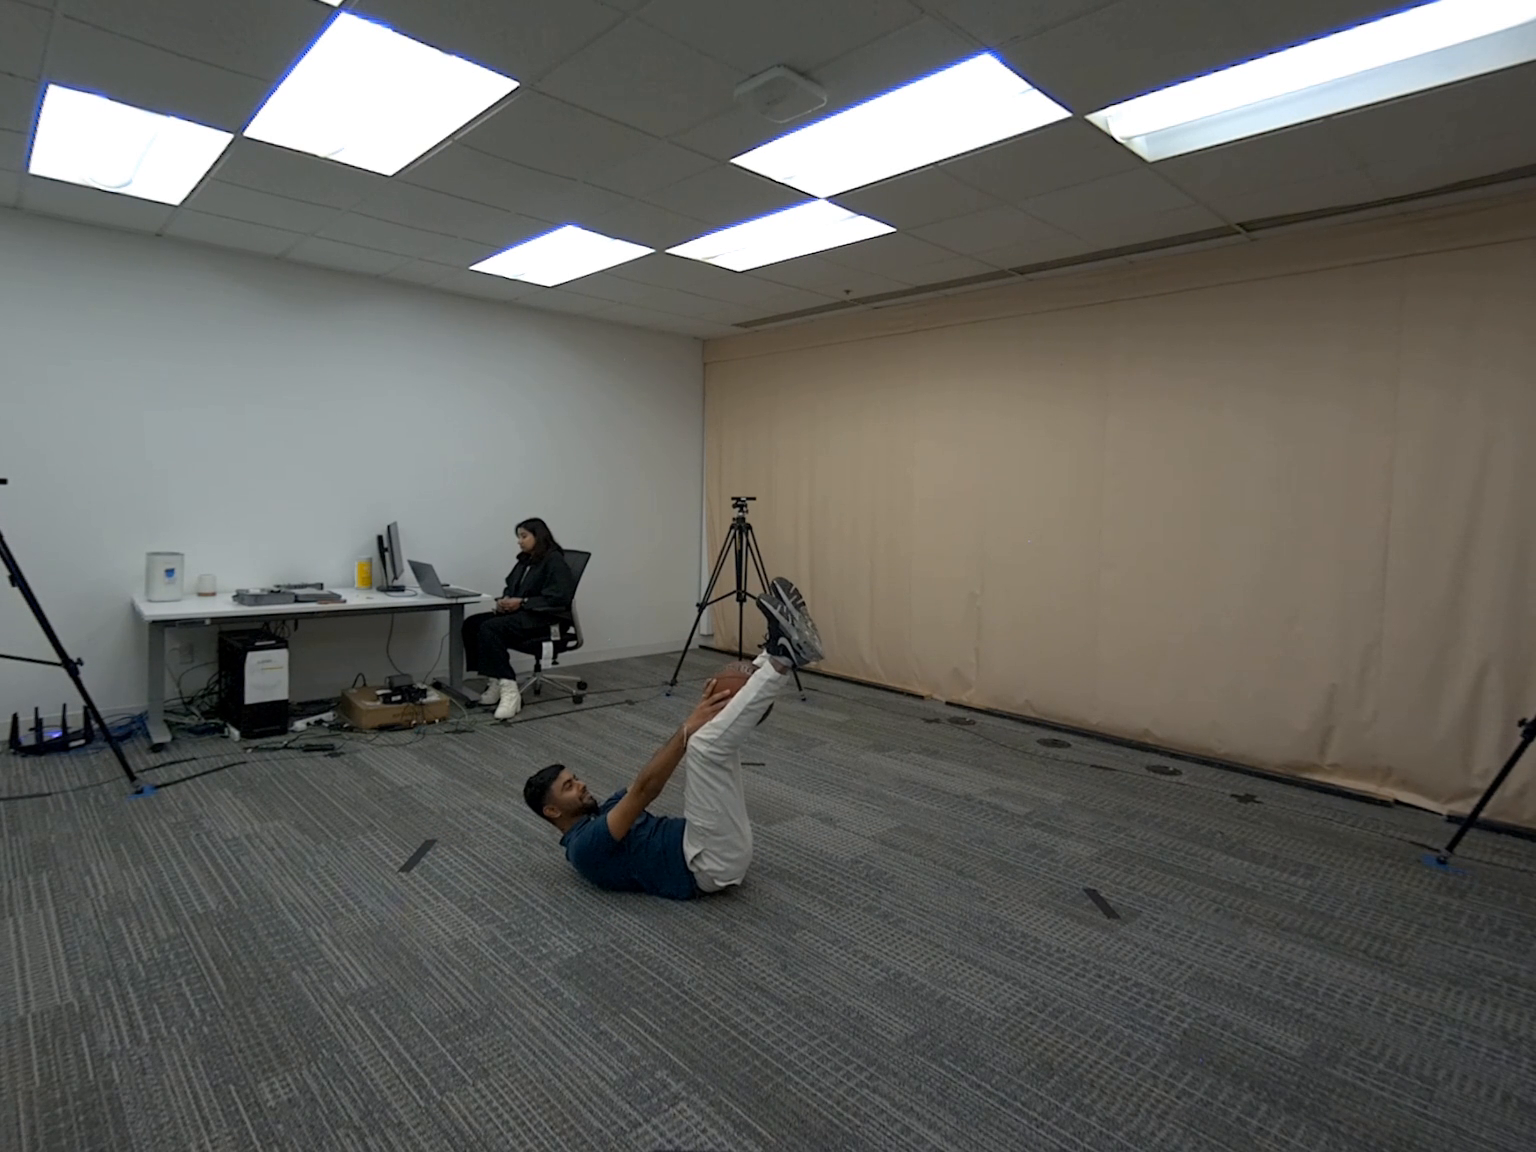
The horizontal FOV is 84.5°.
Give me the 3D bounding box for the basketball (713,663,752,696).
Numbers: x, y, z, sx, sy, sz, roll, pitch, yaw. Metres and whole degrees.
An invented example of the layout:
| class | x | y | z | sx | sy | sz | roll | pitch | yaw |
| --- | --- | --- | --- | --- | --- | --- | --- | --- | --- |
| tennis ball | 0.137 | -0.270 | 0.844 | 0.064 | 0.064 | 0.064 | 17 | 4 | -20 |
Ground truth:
| class | x | y | z | sx | sy | sz | roll | pitch | yaw |
| --- | --- | --- | --- | --- | --- | --- | --- | --- | --- |
| basketball | -0.091 | 0.420 | 2.961 | 0.236 | 0.235 | 0.237 | 1 | 4 | -1 |
